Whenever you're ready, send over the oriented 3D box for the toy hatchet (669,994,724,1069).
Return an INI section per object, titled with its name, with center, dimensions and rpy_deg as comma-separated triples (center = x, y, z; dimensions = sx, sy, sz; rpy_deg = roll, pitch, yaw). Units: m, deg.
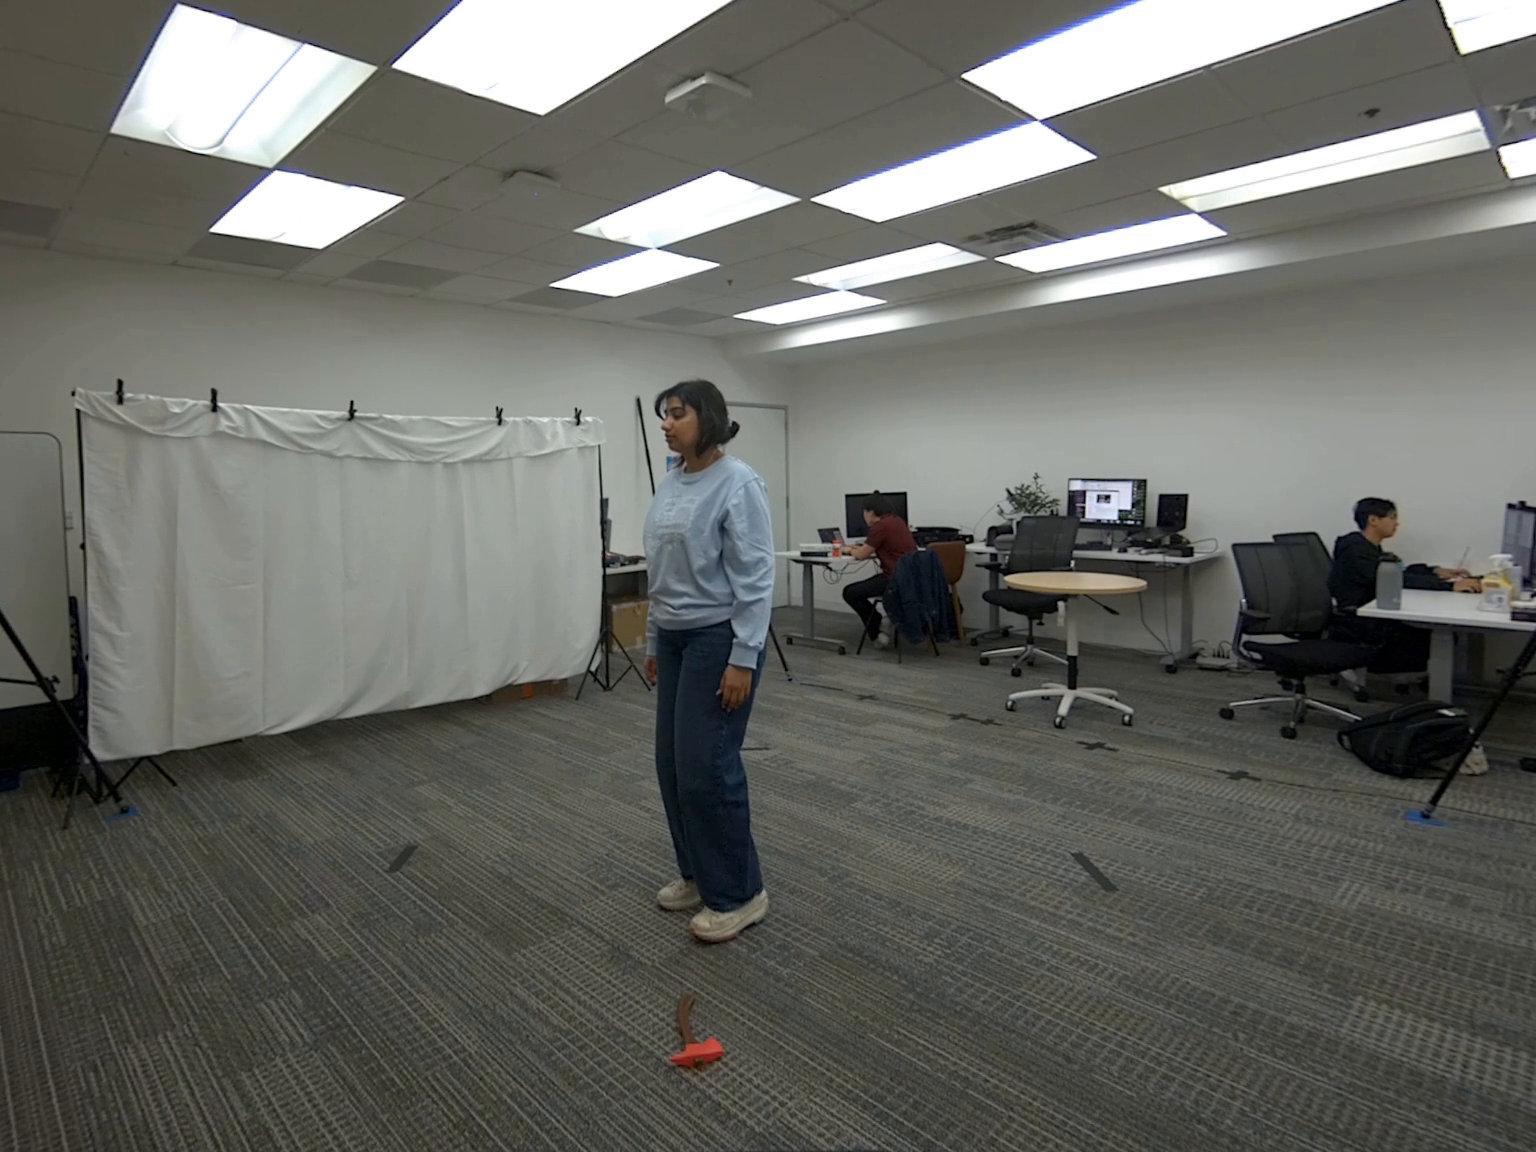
[toy hatchet]
center = -0.169, 1.151, 2.163
dimensions = 0.131, 0.029, 0.270
rpy_deg = -1, 5, 1
